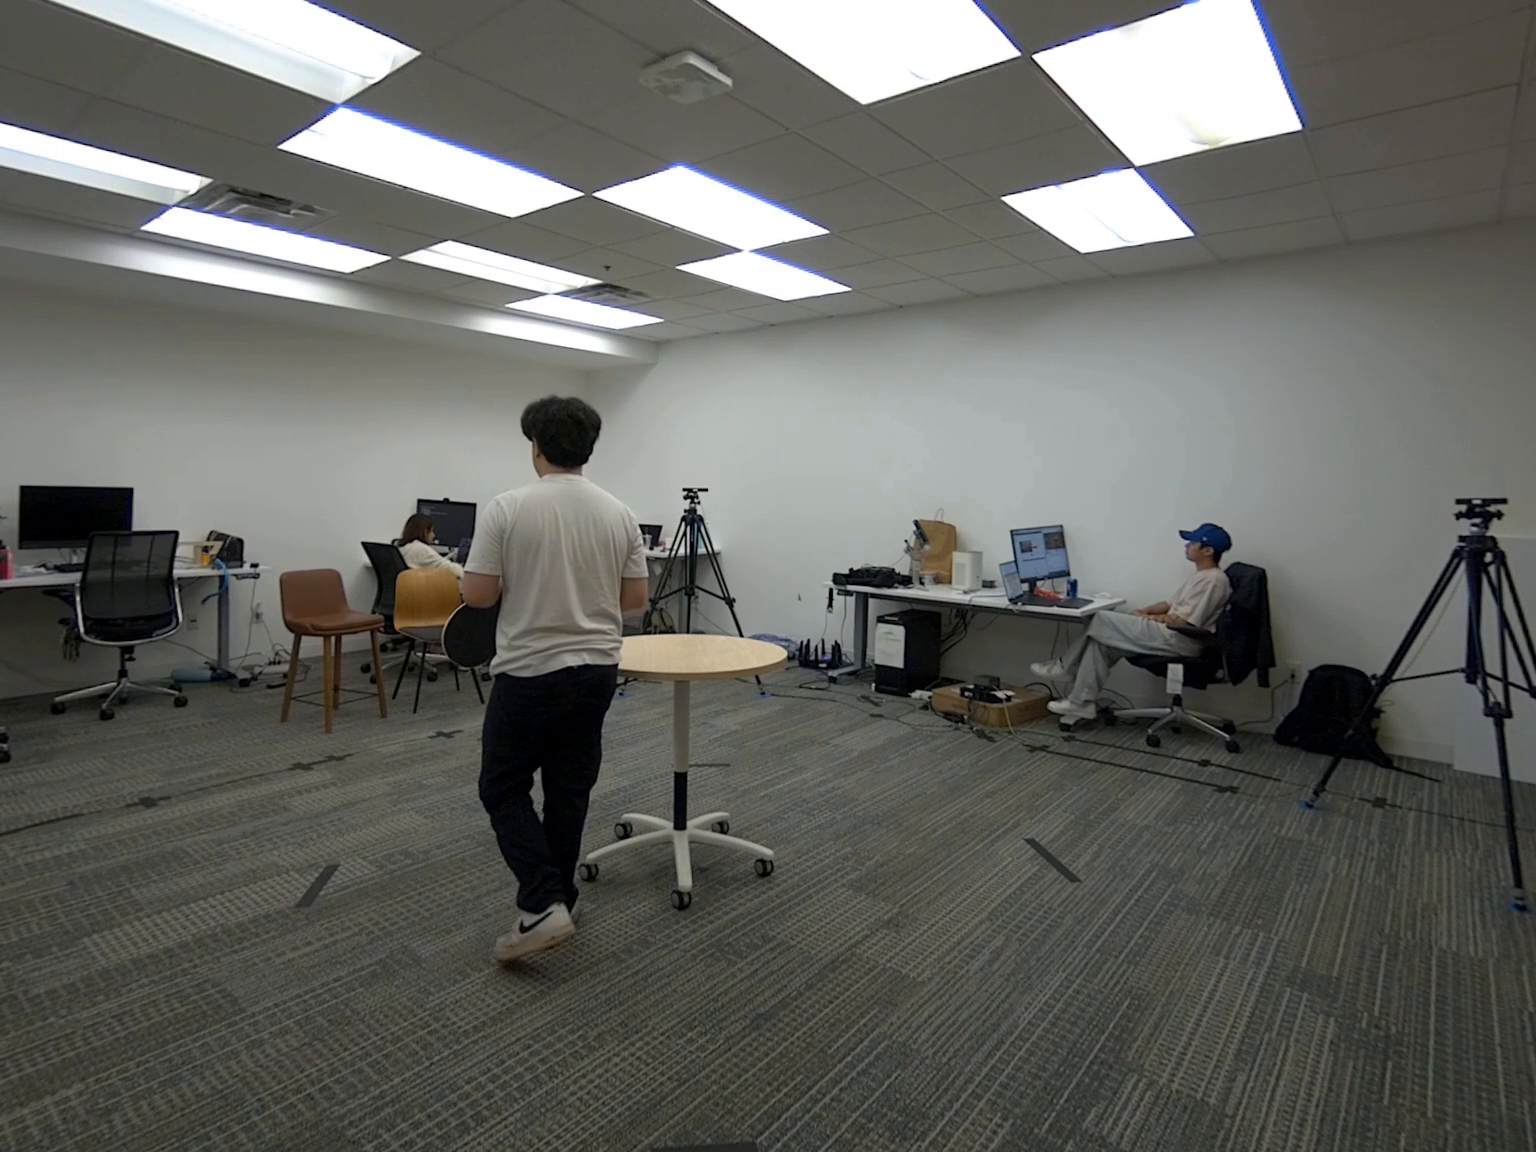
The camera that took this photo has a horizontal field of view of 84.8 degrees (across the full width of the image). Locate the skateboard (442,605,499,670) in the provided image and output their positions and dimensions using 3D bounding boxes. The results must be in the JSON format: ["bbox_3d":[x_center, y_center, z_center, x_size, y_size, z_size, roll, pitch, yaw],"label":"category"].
[{"bbox_3d":[-0.771,0.016,2.839,0.783,0.189,0.113,-45,21,-31],"label":"skateboard"}]
